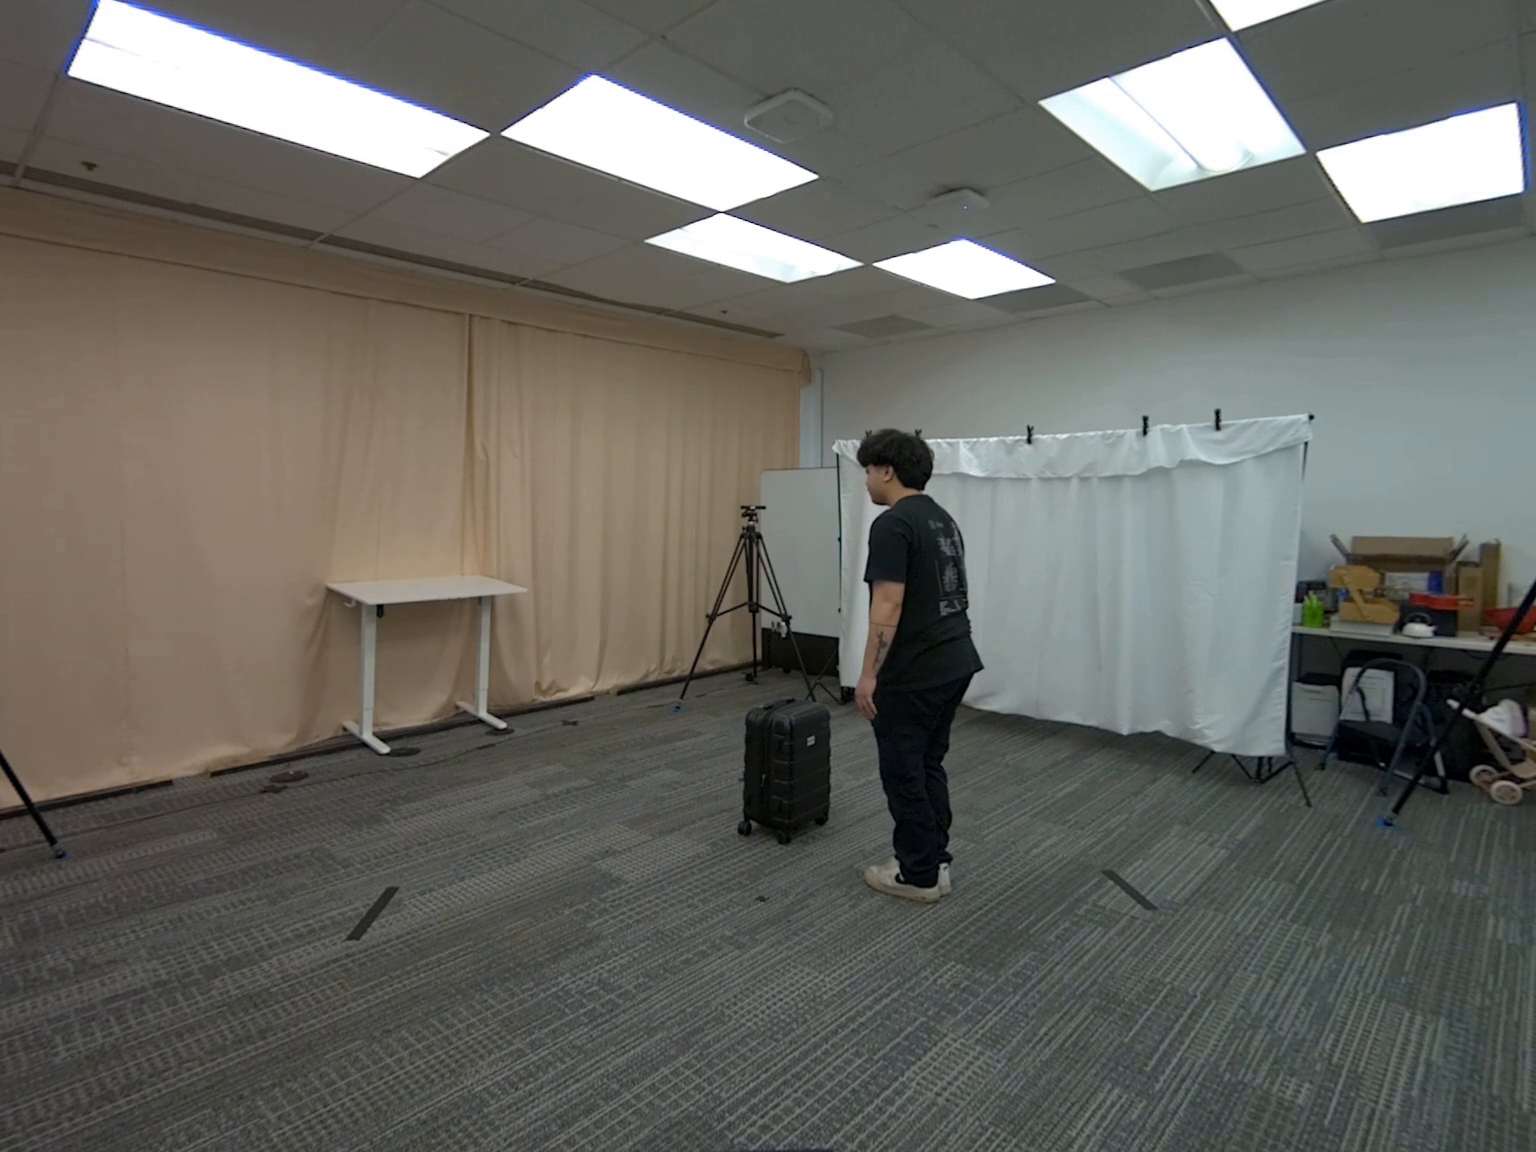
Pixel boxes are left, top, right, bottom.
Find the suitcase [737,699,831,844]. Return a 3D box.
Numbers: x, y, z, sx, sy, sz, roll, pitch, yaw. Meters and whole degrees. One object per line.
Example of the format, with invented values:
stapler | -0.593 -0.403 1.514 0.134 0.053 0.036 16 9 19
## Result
suitcase | 0.086 0.814 3.623 0.256 0.548 0.364 5 4 37
